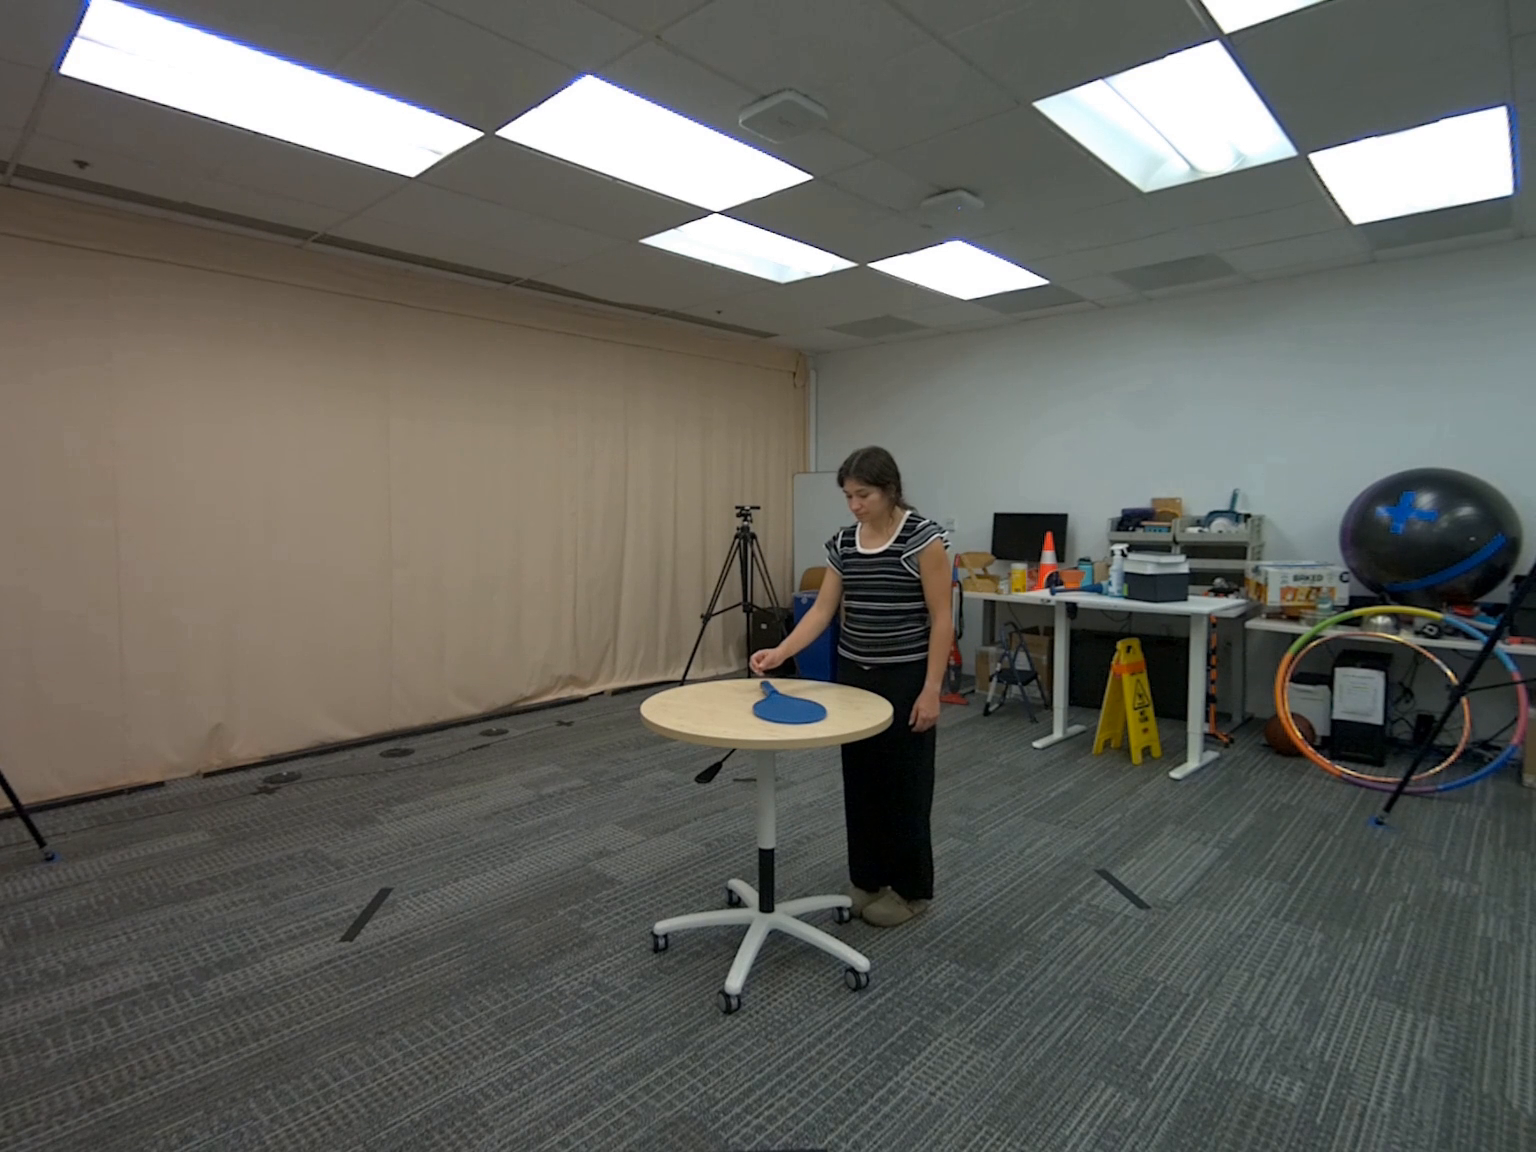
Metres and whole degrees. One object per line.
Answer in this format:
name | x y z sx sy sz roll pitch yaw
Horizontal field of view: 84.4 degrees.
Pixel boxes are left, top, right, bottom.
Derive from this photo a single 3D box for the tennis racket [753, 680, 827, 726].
tennis racket | 0.046 0.389 2.554 0.211 0.031 0.440 -2 6 -15
